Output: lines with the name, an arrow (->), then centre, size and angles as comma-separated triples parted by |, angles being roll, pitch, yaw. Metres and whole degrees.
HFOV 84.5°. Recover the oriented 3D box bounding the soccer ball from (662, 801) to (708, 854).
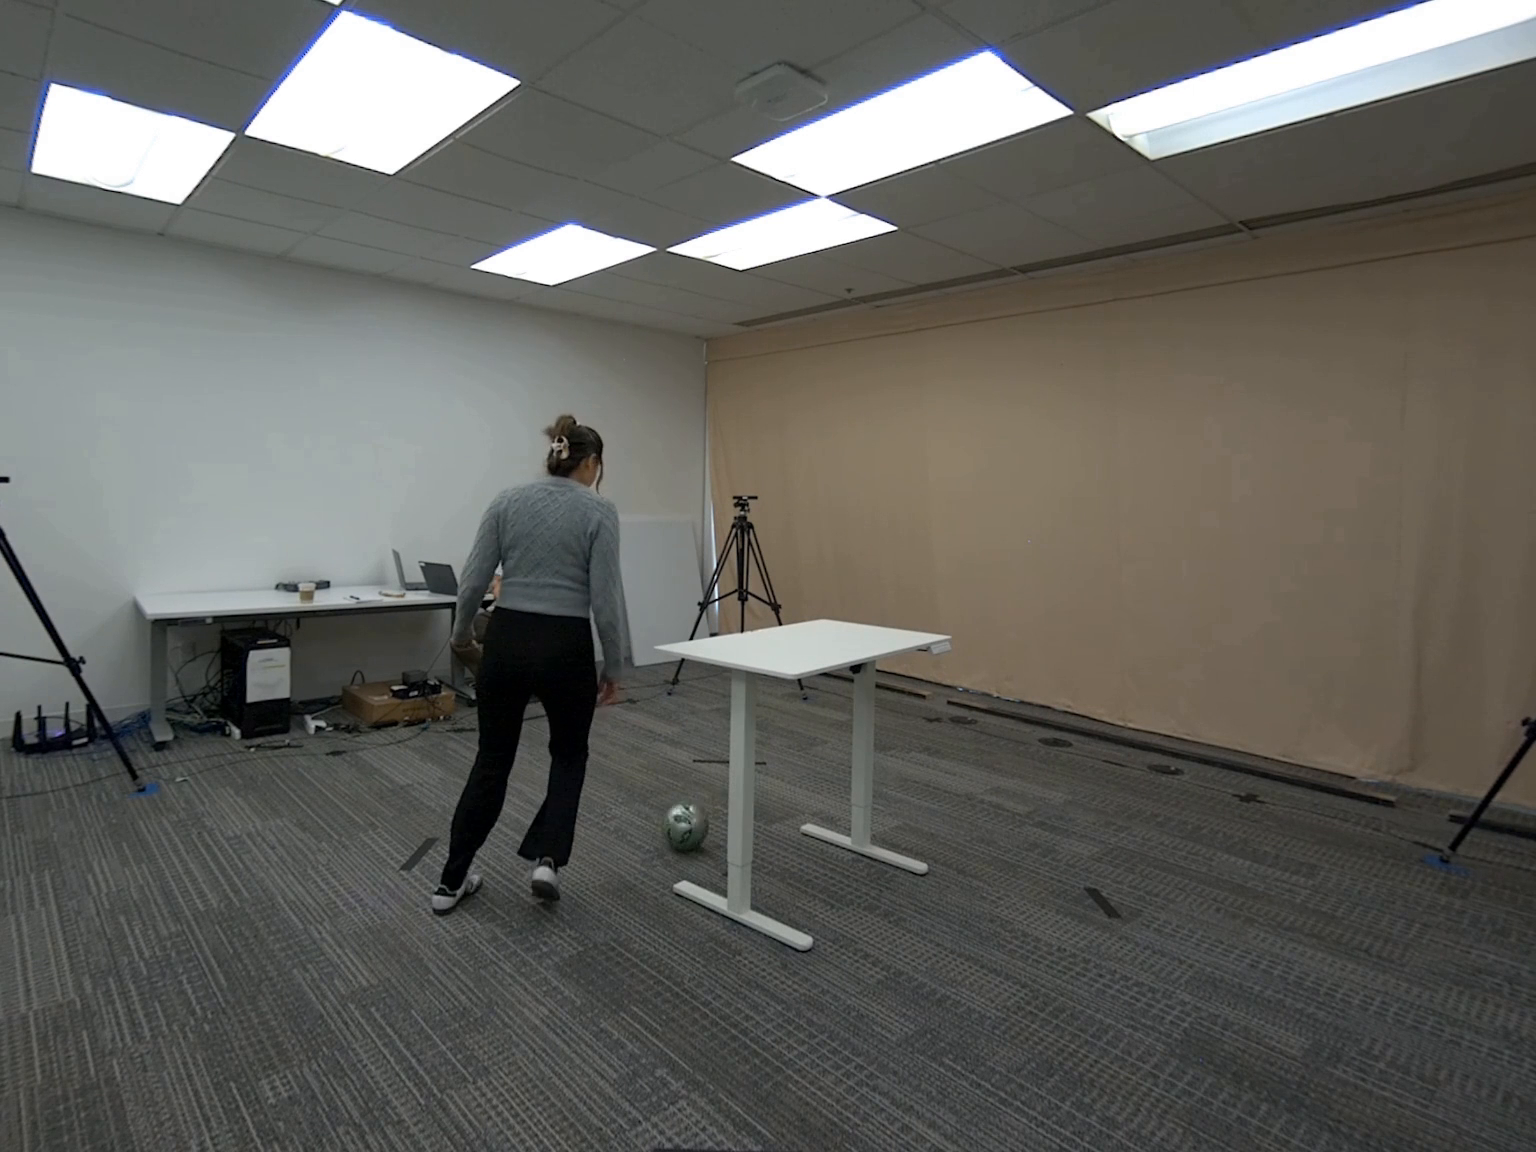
soccer ball -> -0.333, 0.983, 3.314 | 0.187, 0.187, 0.188 | 1, 4, -1
